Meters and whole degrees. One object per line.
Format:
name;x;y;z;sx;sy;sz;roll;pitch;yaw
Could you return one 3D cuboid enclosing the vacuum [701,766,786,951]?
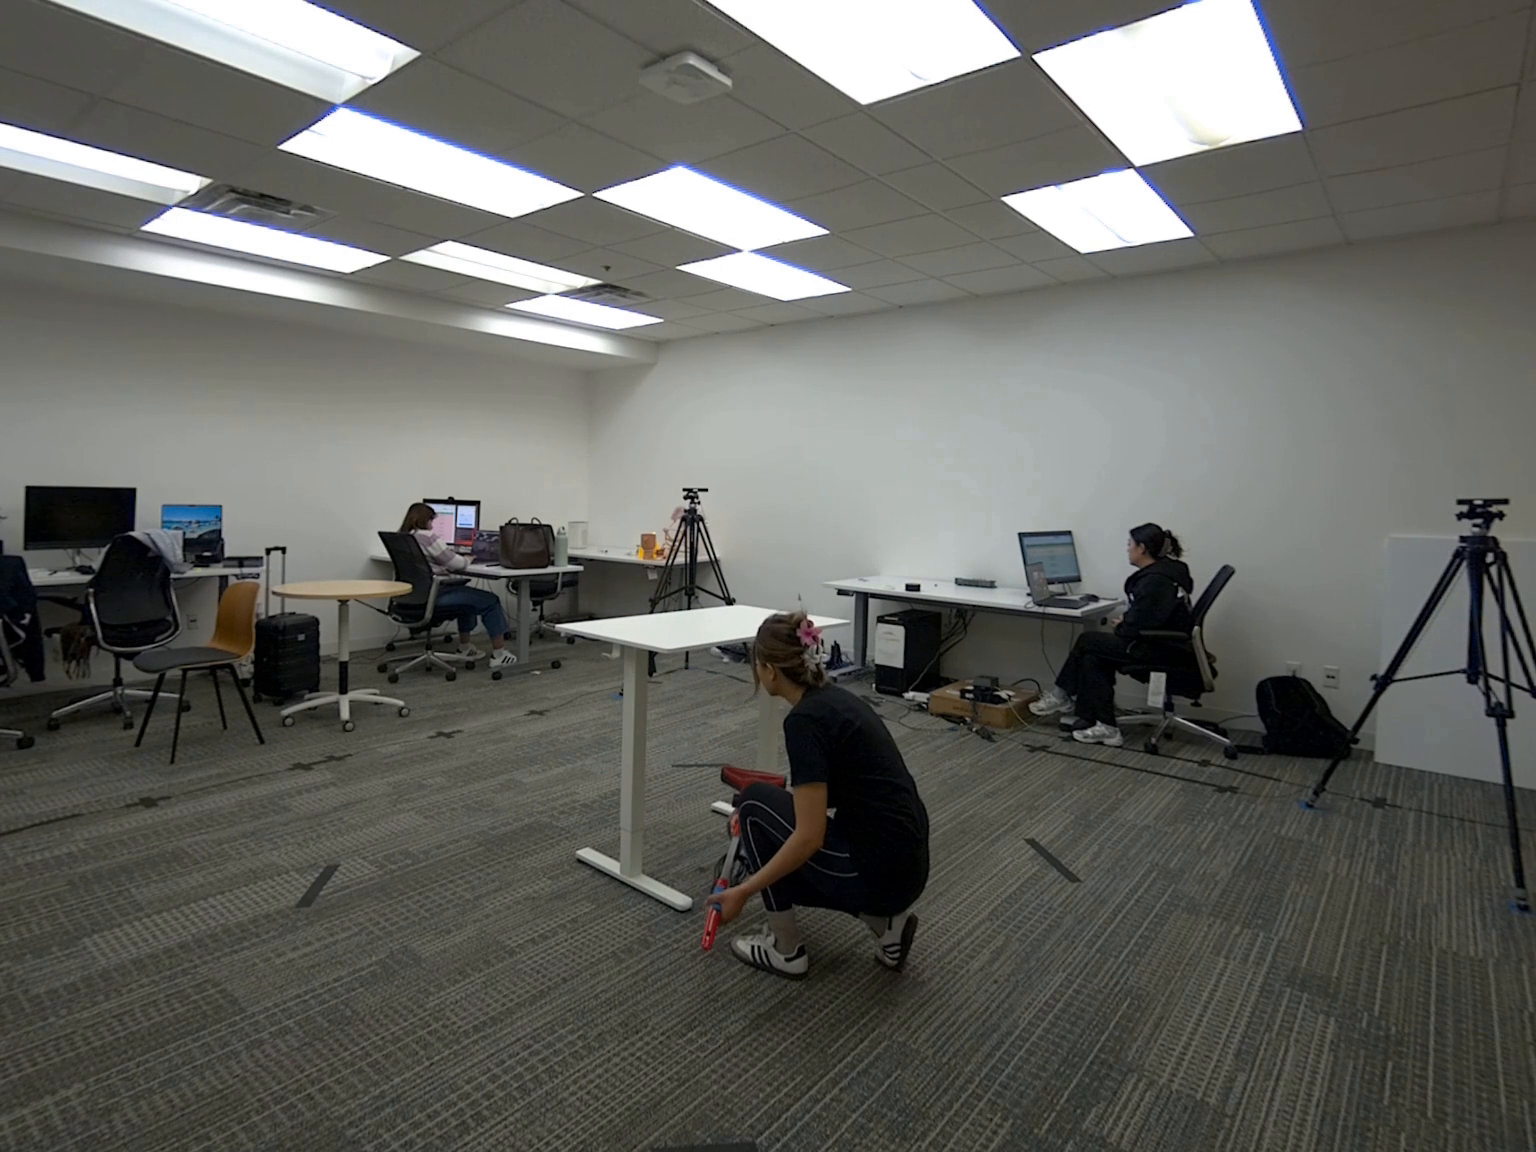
vacuum;-0.132;0.883;2.721;0.255;0.143;1.047;10;10;5
